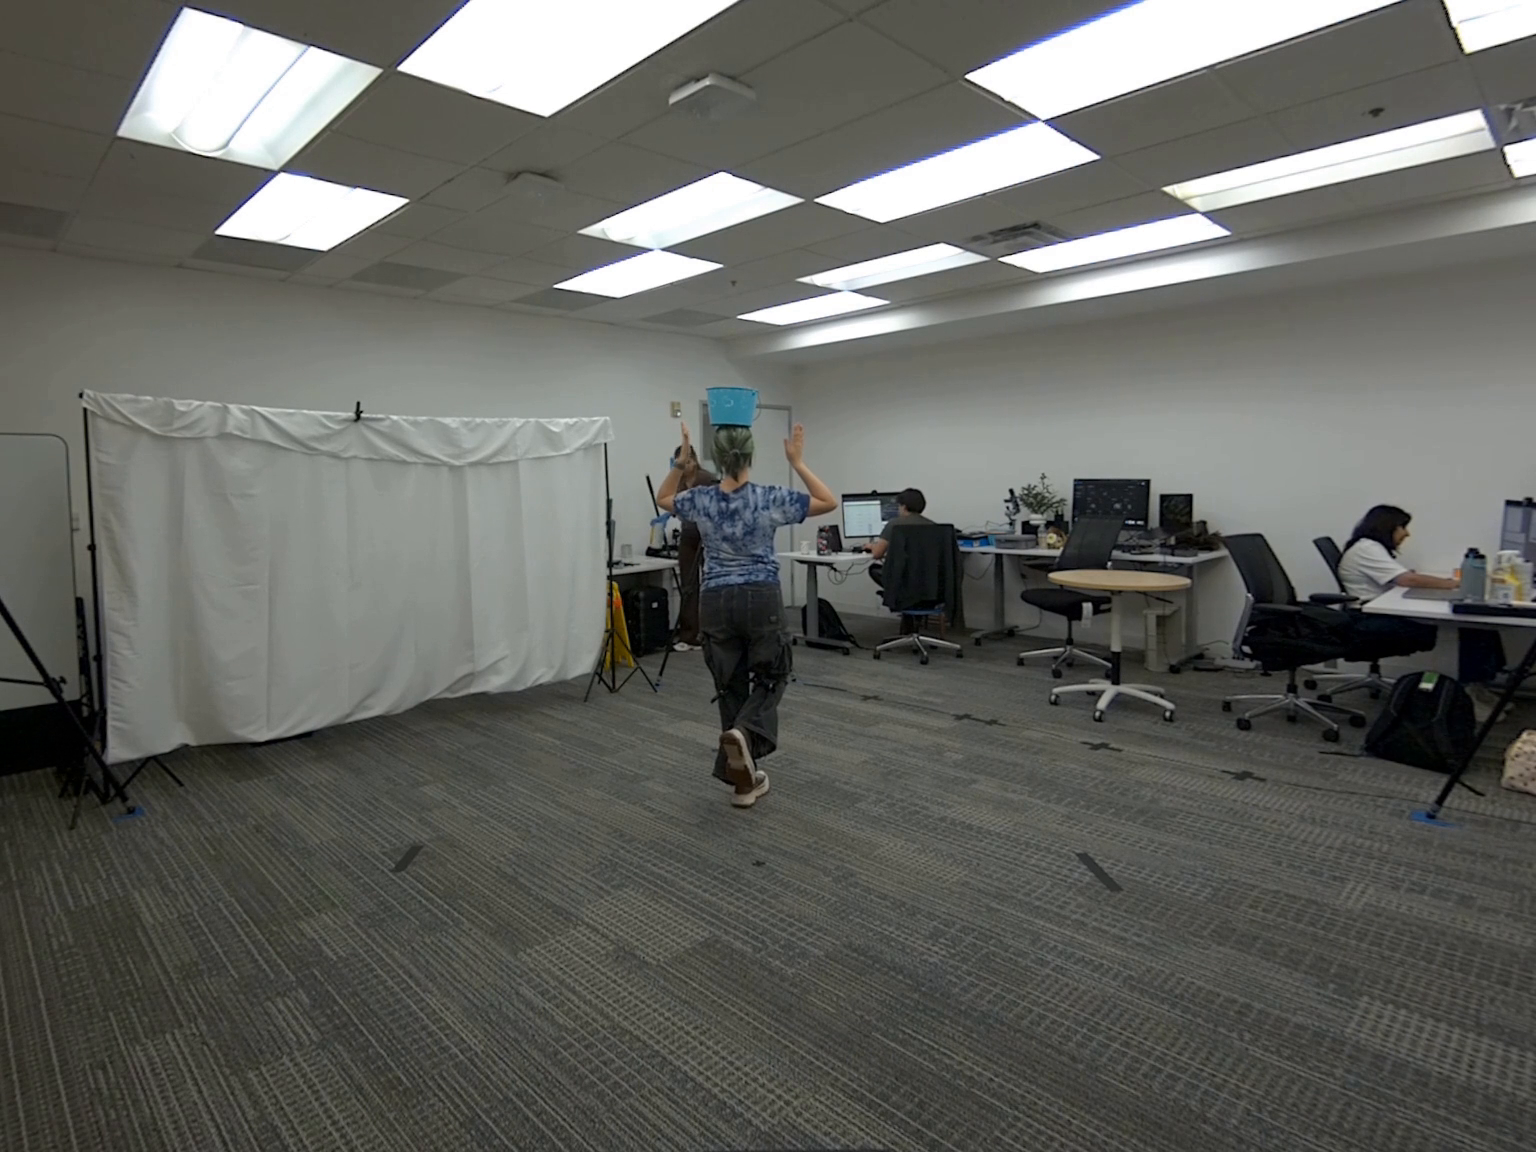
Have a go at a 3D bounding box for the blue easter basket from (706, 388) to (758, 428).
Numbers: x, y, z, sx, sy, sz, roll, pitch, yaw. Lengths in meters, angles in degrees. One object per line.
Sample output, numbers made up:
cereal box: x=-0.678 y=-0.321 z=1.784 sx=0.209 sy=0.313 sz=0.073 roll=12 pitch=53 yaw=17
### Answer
blue easter basket: x=-0.157 y=-0.720 z=3.680 sx=0.243 sy=0.155 sz=0.245 roll=1 pitch=5 yaw=-2
